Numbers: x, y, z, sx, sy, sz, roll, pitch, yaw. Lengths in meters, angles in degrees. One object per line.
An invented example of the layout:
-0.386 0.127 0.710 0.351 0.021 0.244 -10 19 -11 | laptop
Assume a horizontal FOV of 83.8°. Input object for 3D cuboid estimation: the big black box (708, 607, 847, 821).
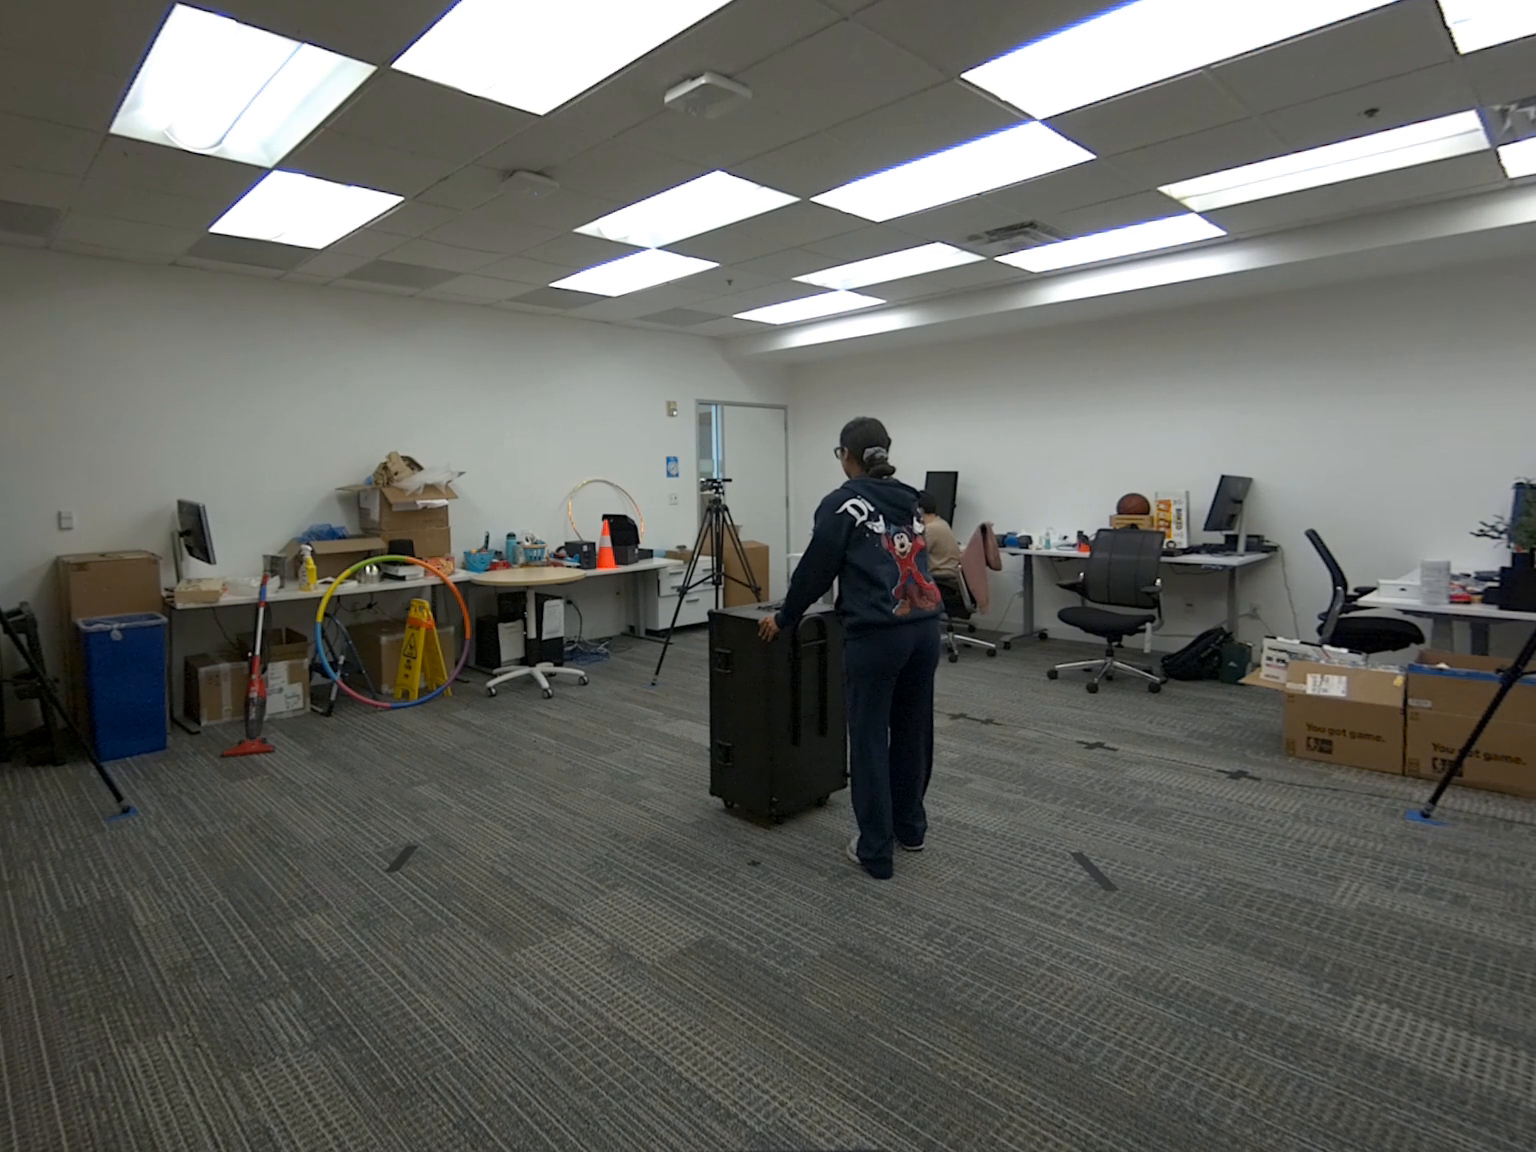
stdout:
0.055 0.560 3.603 0.507 0.857 0.409 -4 8 -44 | big black box
